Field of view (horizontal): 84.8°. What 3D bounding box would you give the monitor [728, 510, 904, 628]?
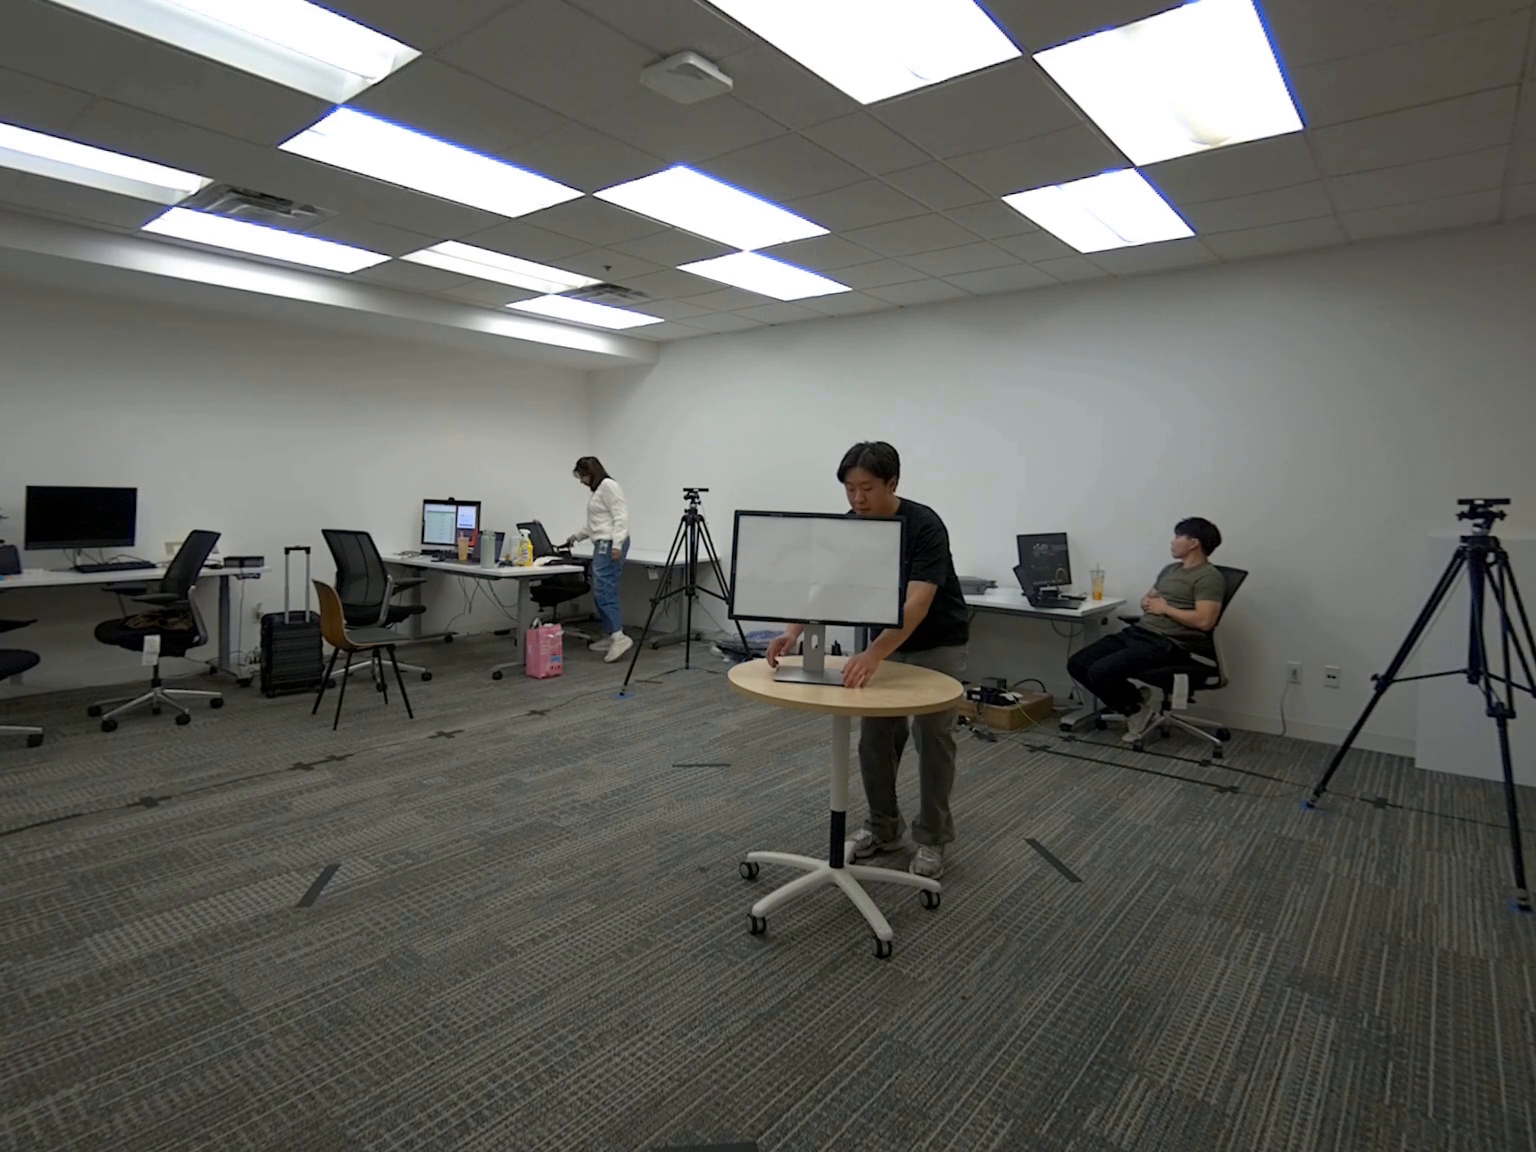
[{"bbox_3d":[0.157,0.073,2.783,0.568,0.563,0.221,2,5,9],"label":"monitor"}]
